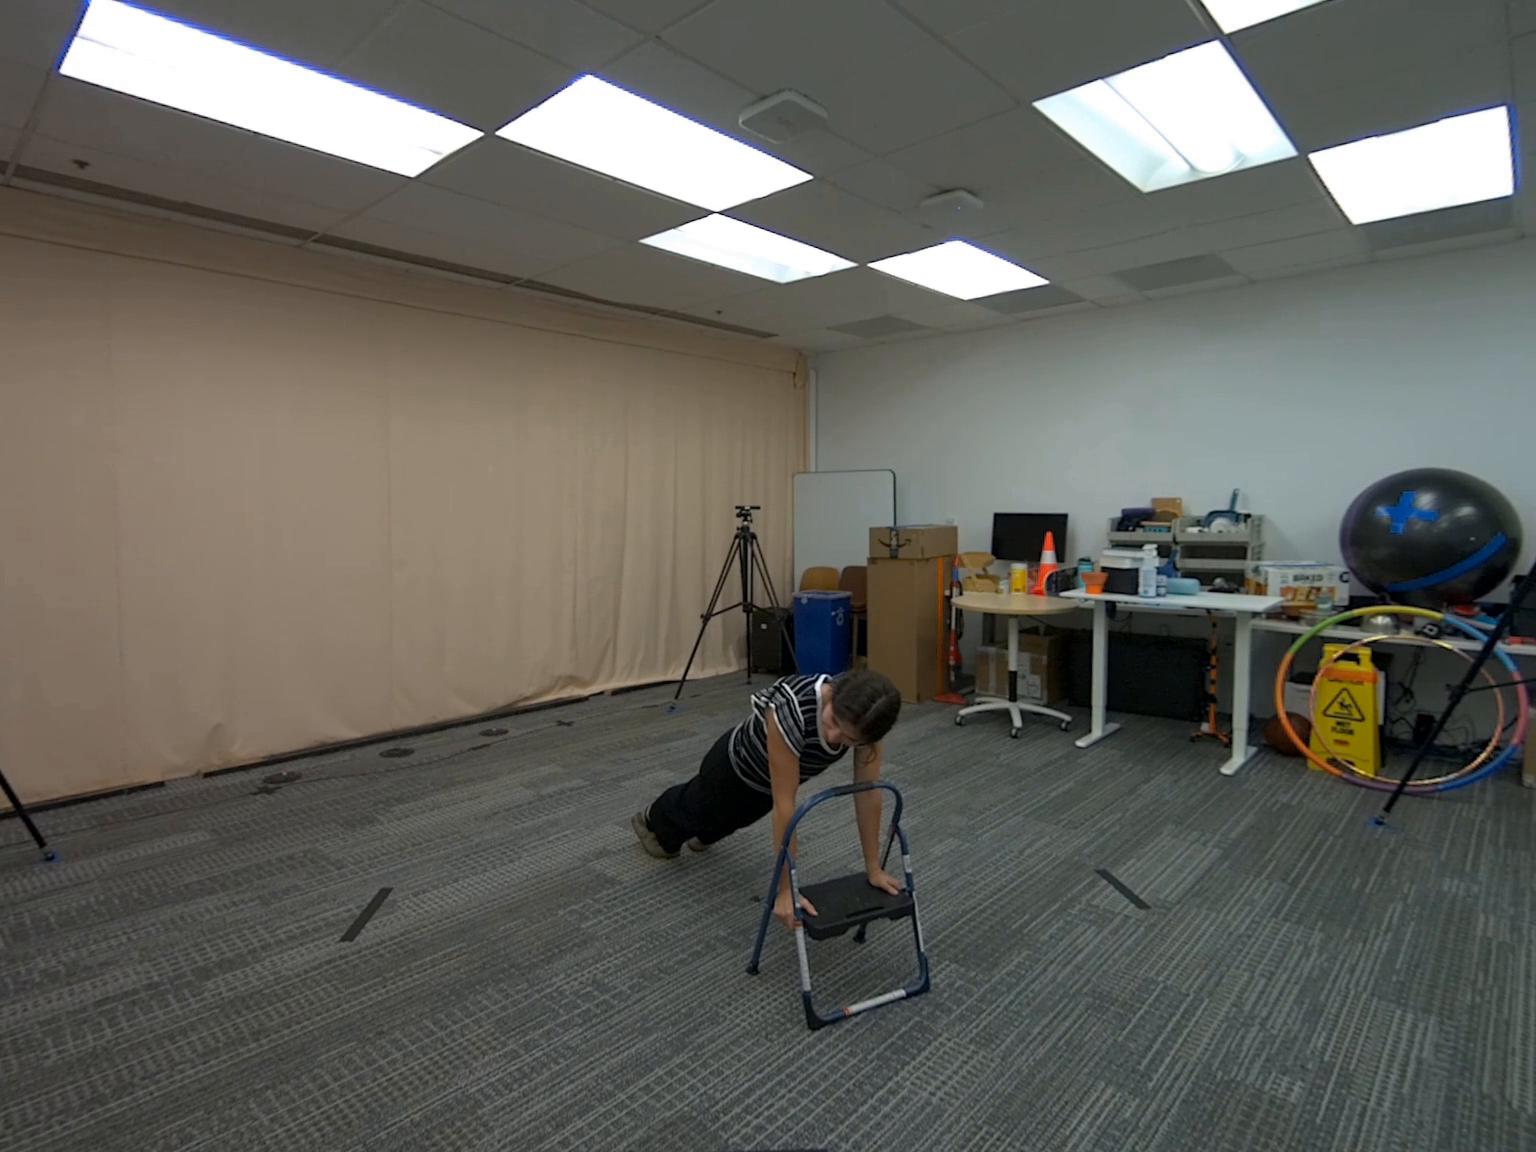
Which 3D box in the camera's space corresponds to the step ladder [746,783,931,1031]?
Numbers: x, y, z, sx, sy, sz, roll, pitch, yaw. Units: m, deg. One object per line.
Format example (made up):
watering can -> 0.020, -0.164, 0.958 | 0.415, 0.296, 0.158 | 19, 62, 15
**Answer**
step ladder -> 0.211, 0.889, 2.454 | 0.419, 0.604, 0.360 | -3, 5, -30
